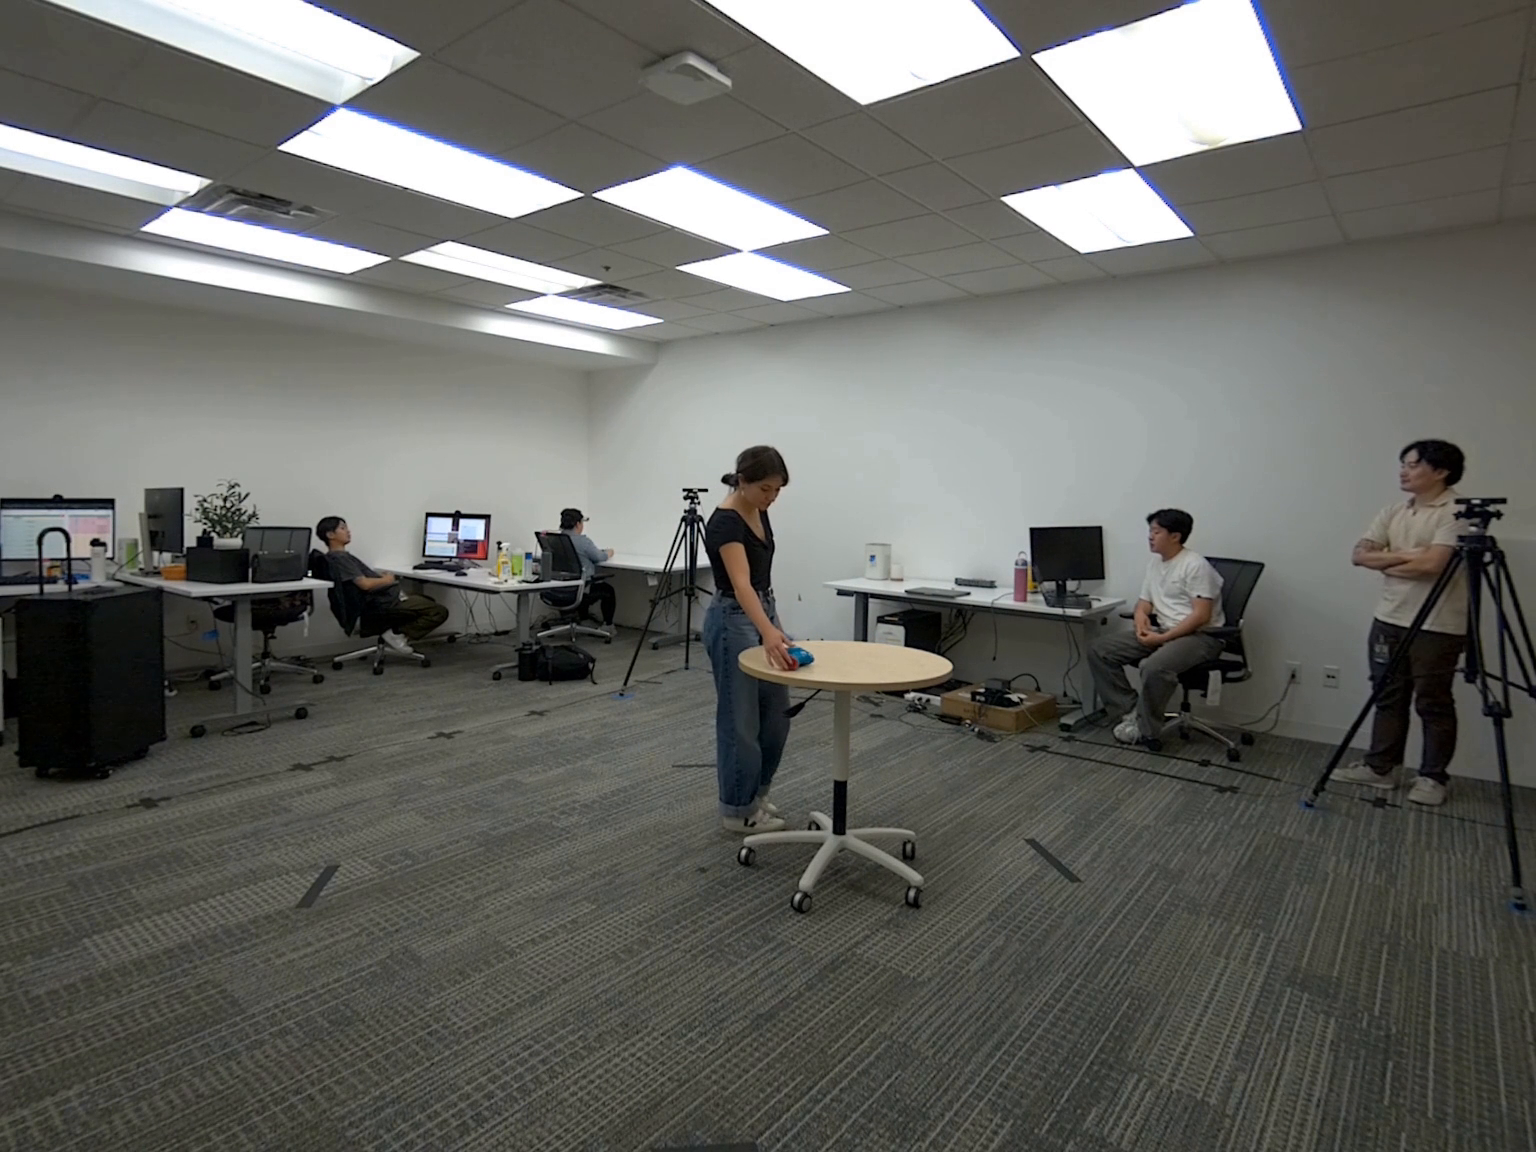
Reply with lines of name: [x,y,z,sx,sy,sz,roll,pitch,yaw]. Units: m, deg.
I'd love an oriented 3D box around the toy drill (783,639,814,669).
toy drill: [0.074,0.273,2.968,0.175,0.060,0.143,13,12,28]
